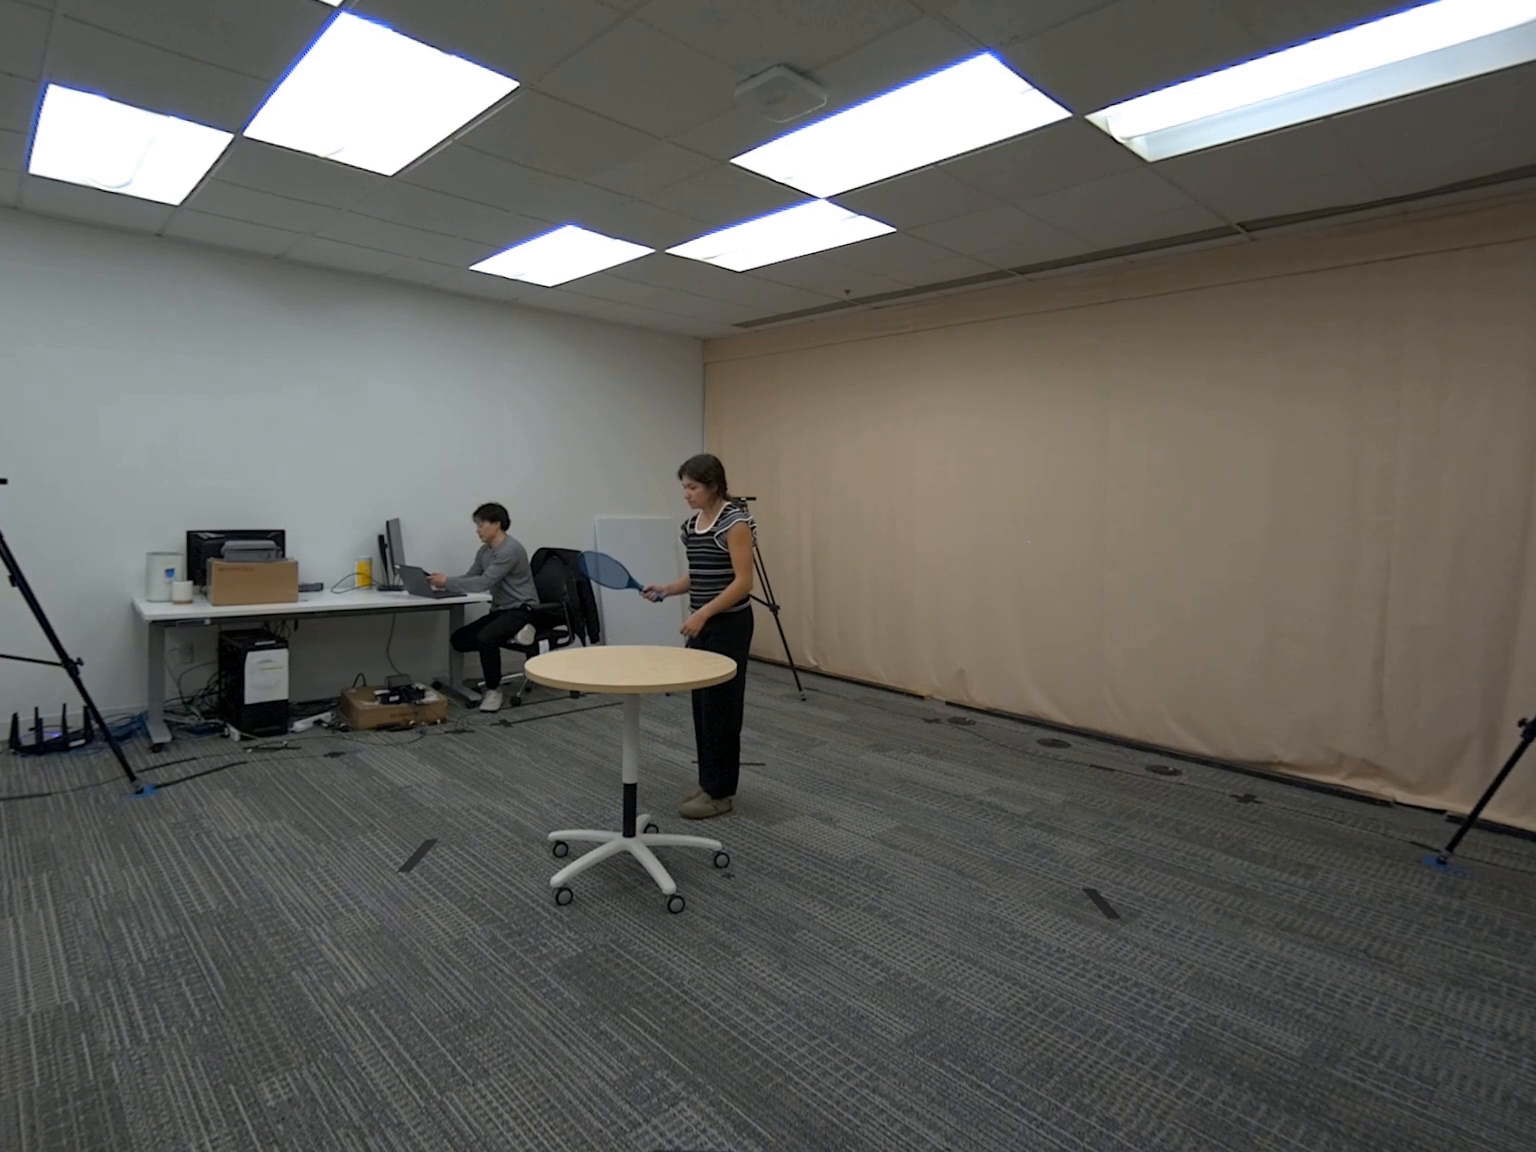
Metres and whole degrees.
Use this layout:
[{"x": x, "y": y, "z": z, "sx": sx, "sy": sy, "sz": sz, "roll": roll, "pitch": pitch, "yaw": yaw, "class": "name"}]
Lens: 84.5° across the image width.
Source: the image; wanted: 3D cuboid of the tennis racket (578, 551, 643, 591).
[{"x": -0.672, "y": 0.011, "z": 3.816, "sx": 0.435, "sy": 0.211, "sz": 0.032, "roll": 24, "pitch": 46, "yaw": 4, "class": "tennis racket"}]
